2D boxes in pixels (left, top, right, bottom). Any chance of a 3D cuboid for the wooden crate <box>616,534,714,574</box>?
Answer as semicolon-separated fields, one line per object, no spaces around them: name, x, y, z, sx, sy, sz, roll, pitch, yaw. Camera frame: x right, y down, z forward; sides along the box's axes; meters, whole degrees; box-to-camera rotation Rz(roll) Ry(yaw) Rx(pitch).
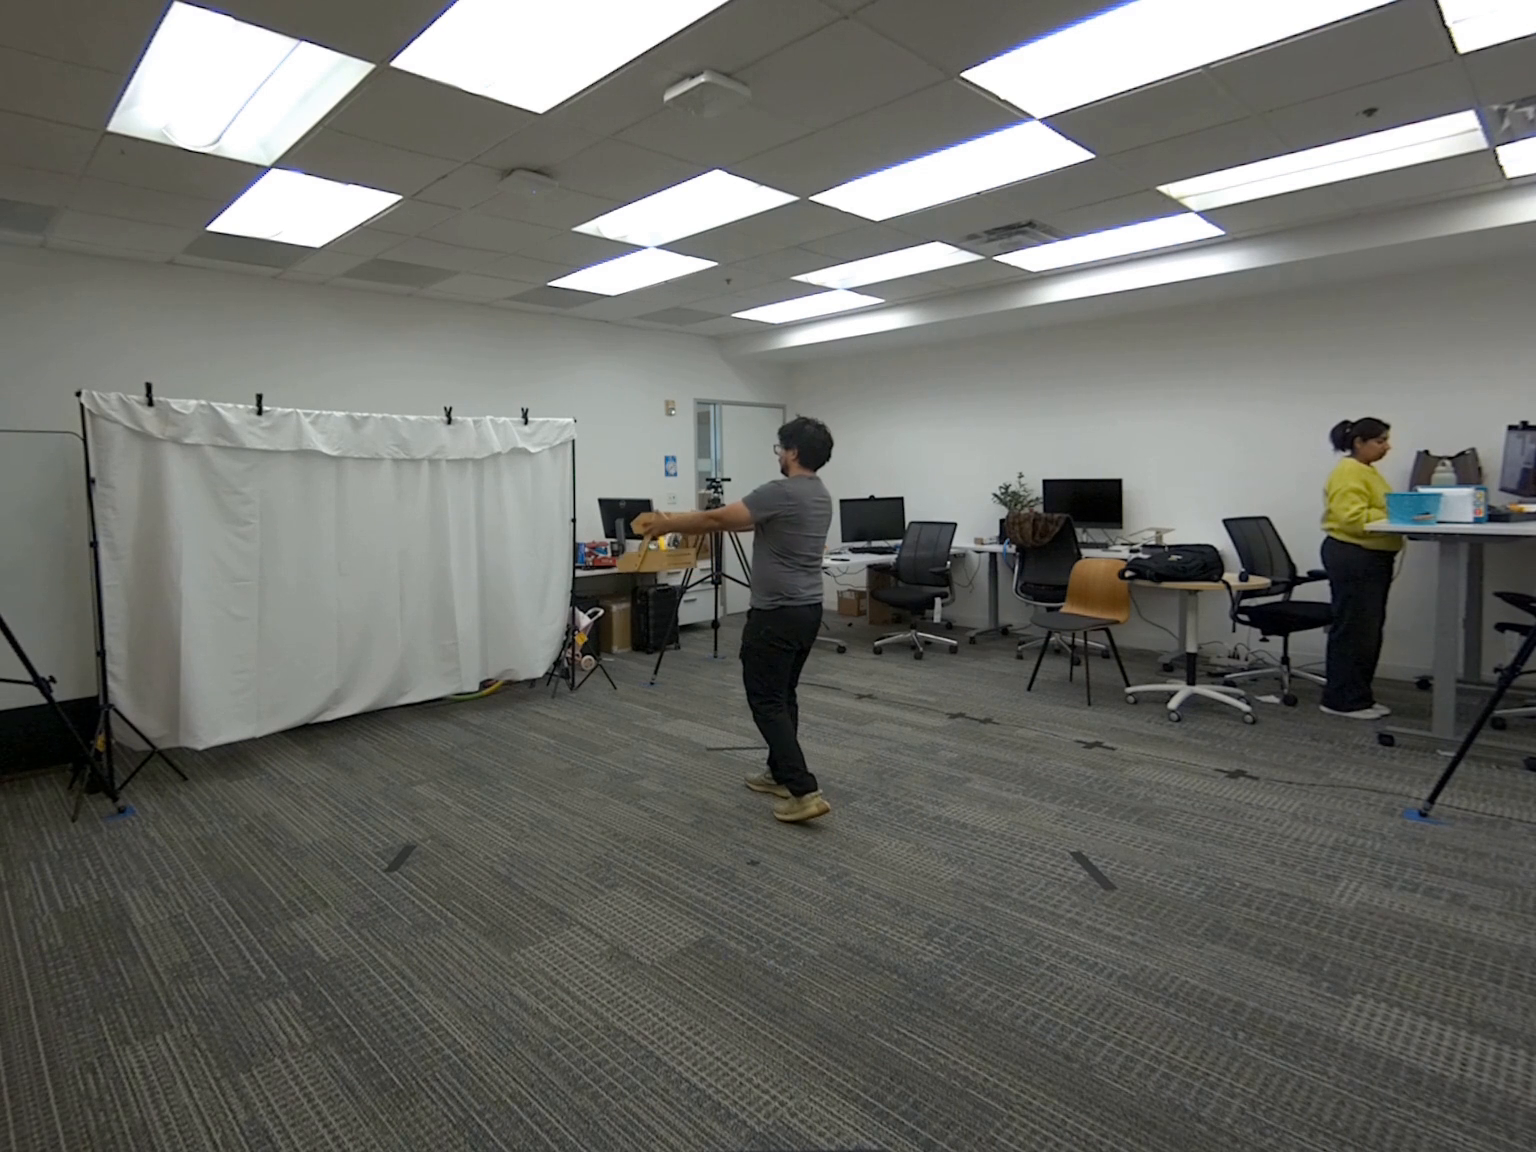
wooden crate;-0.489;-0.161;3.933;0.309;0.273;0.317;-1;3;27
